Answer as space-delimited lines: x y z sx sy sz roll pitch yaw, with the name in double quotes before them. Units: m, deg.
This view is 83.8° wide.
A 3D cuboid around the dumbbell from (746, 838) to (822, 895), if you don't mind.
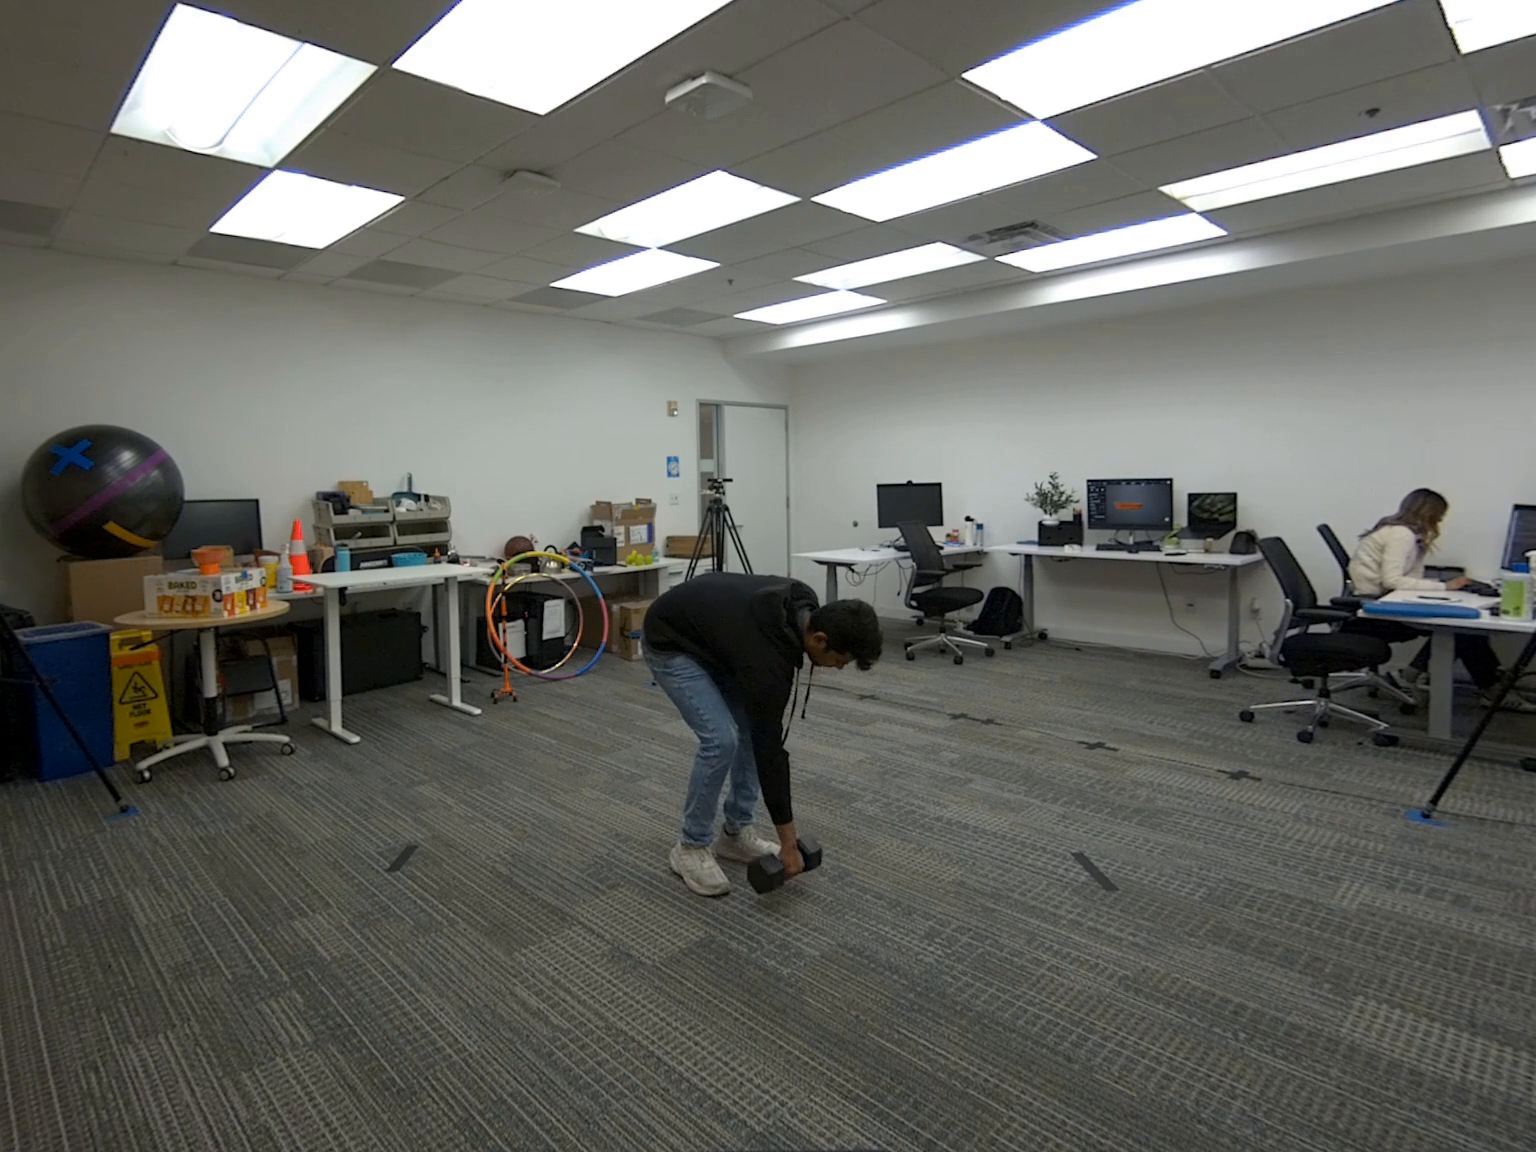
"dumbbell" 0.058 0.939 2.845 0.112 0.122 0.286 7 7 40
